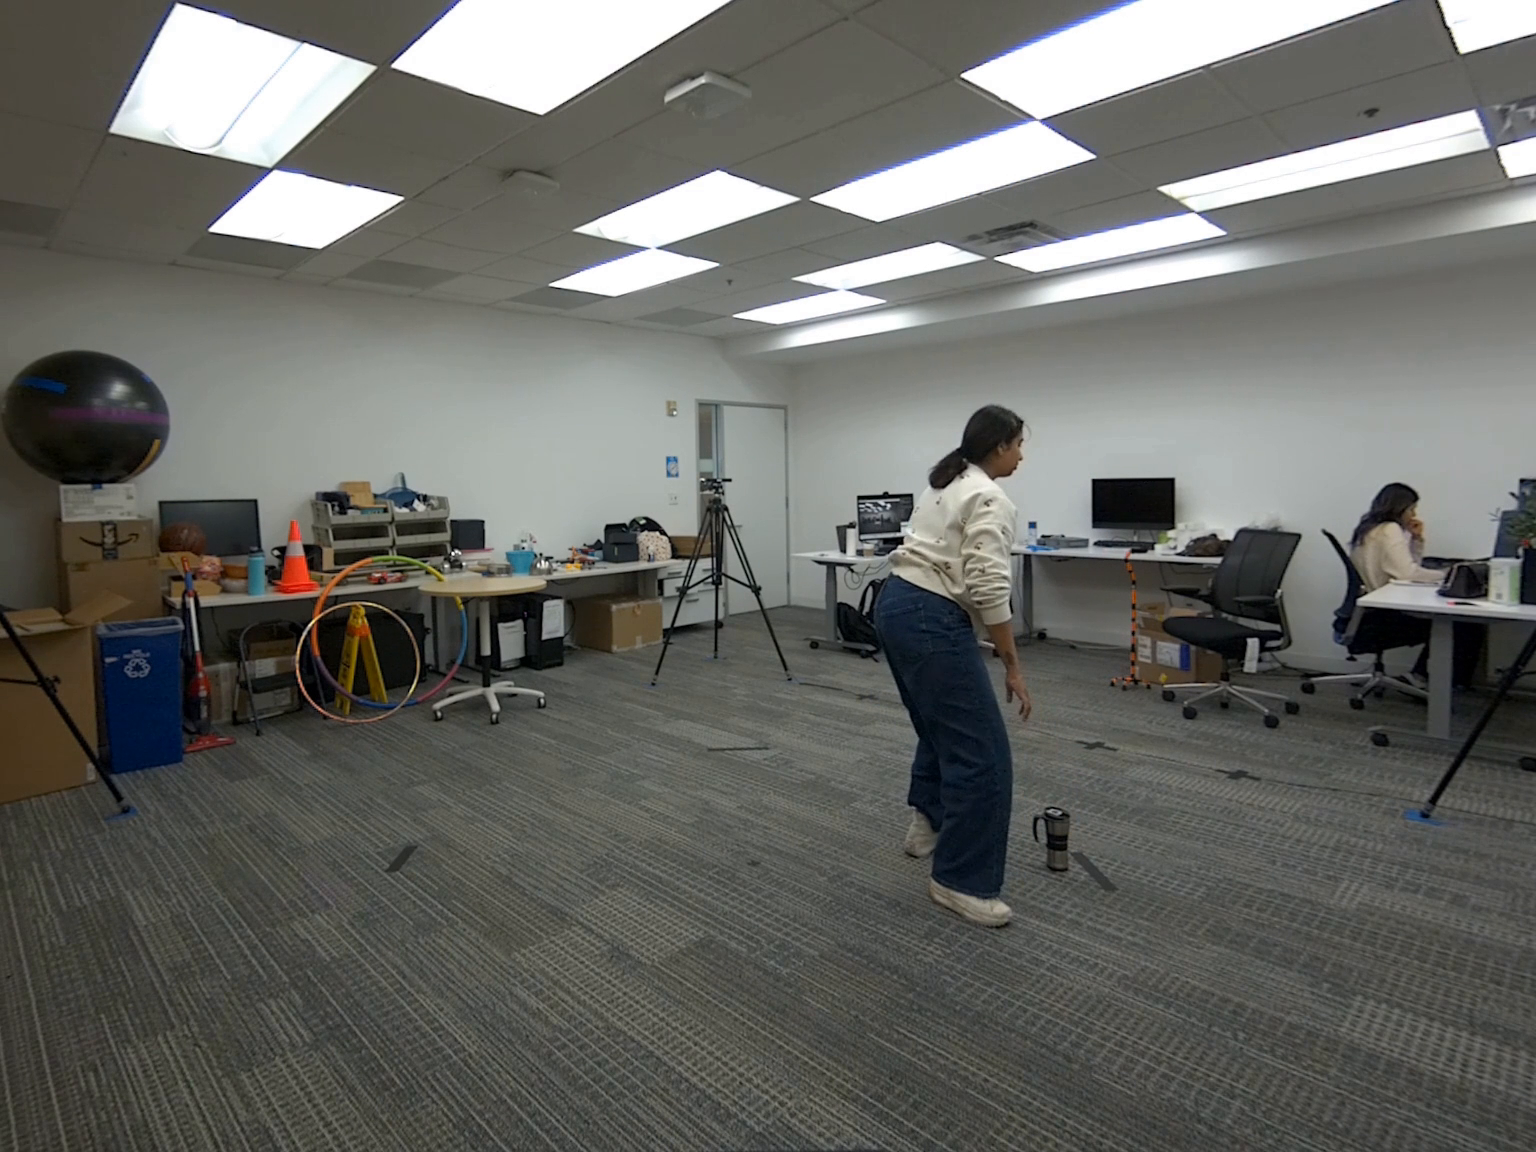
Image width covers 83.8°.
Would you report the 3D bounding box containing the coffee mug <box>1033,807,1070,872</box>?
[{"bbox_3d":[1.014,0.936,3.038,0.126,0.201,0.086,8,11,41],"label":"coffee mug"}]
